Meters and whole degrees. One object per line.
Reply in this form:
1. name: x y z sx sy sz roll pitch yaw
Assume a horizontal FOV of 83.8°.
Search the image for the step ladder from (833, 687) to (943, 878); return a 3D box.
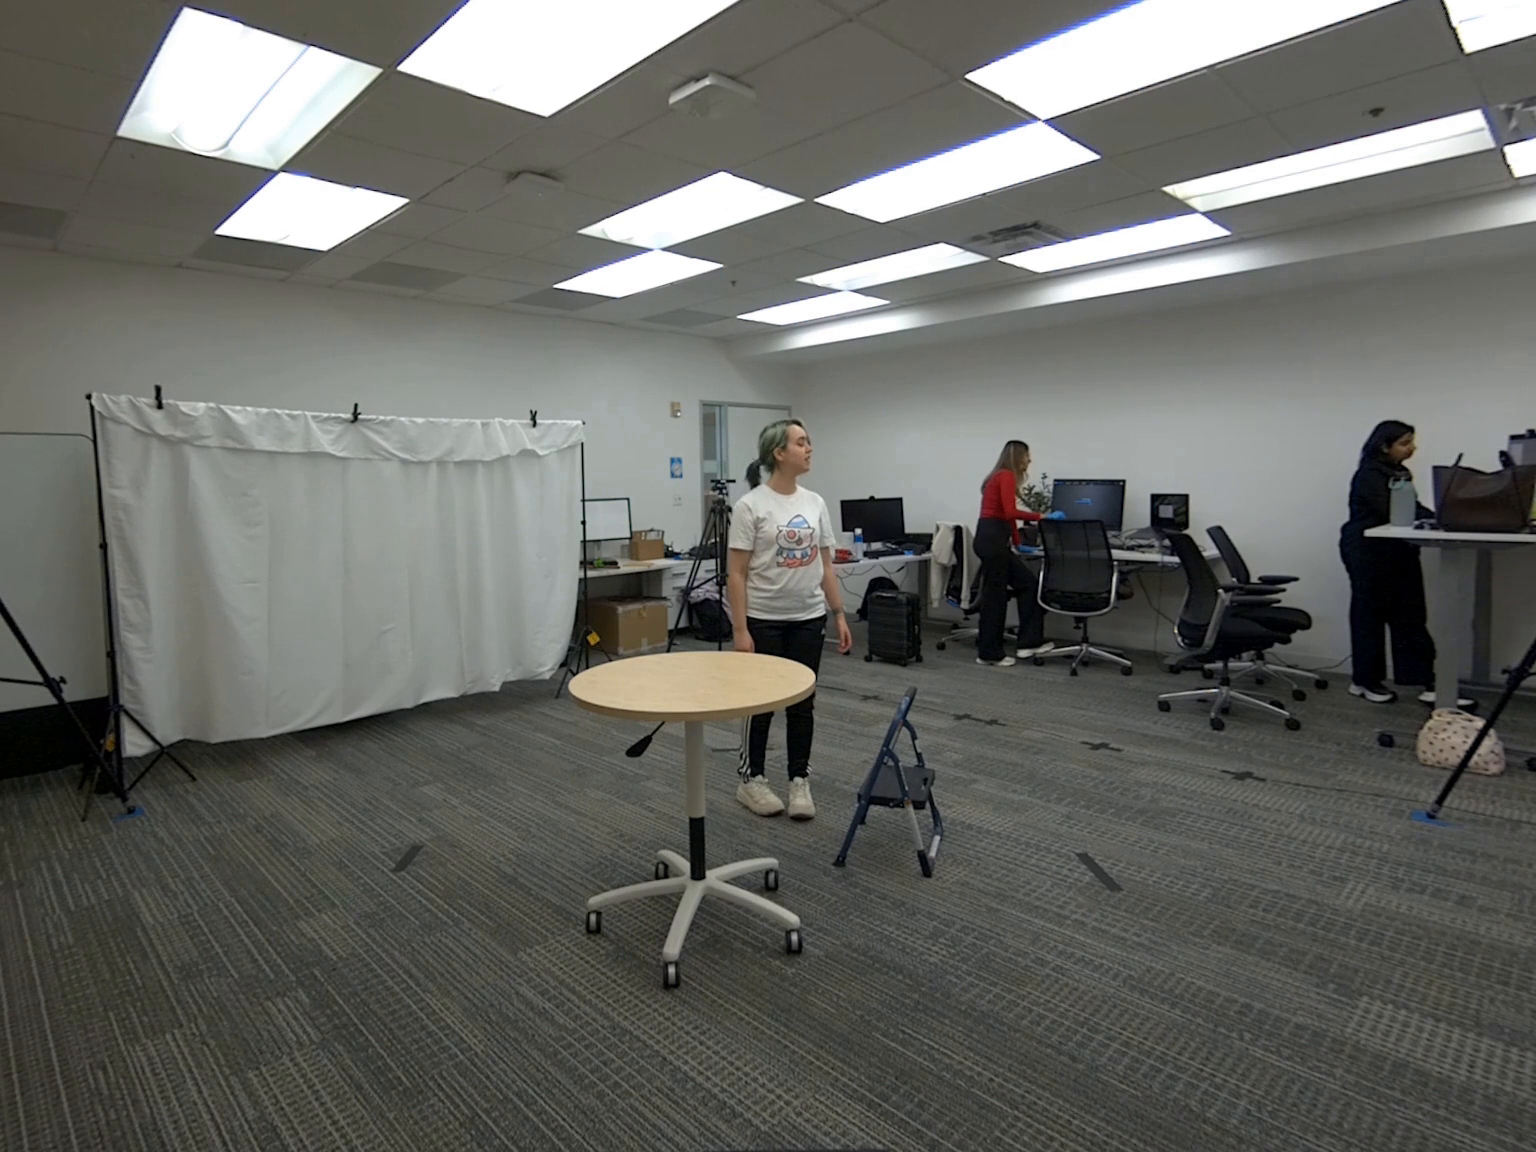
1. step ladder: 0.459 0.724 3.199 0.355 0.604 0.424 0 4 18
